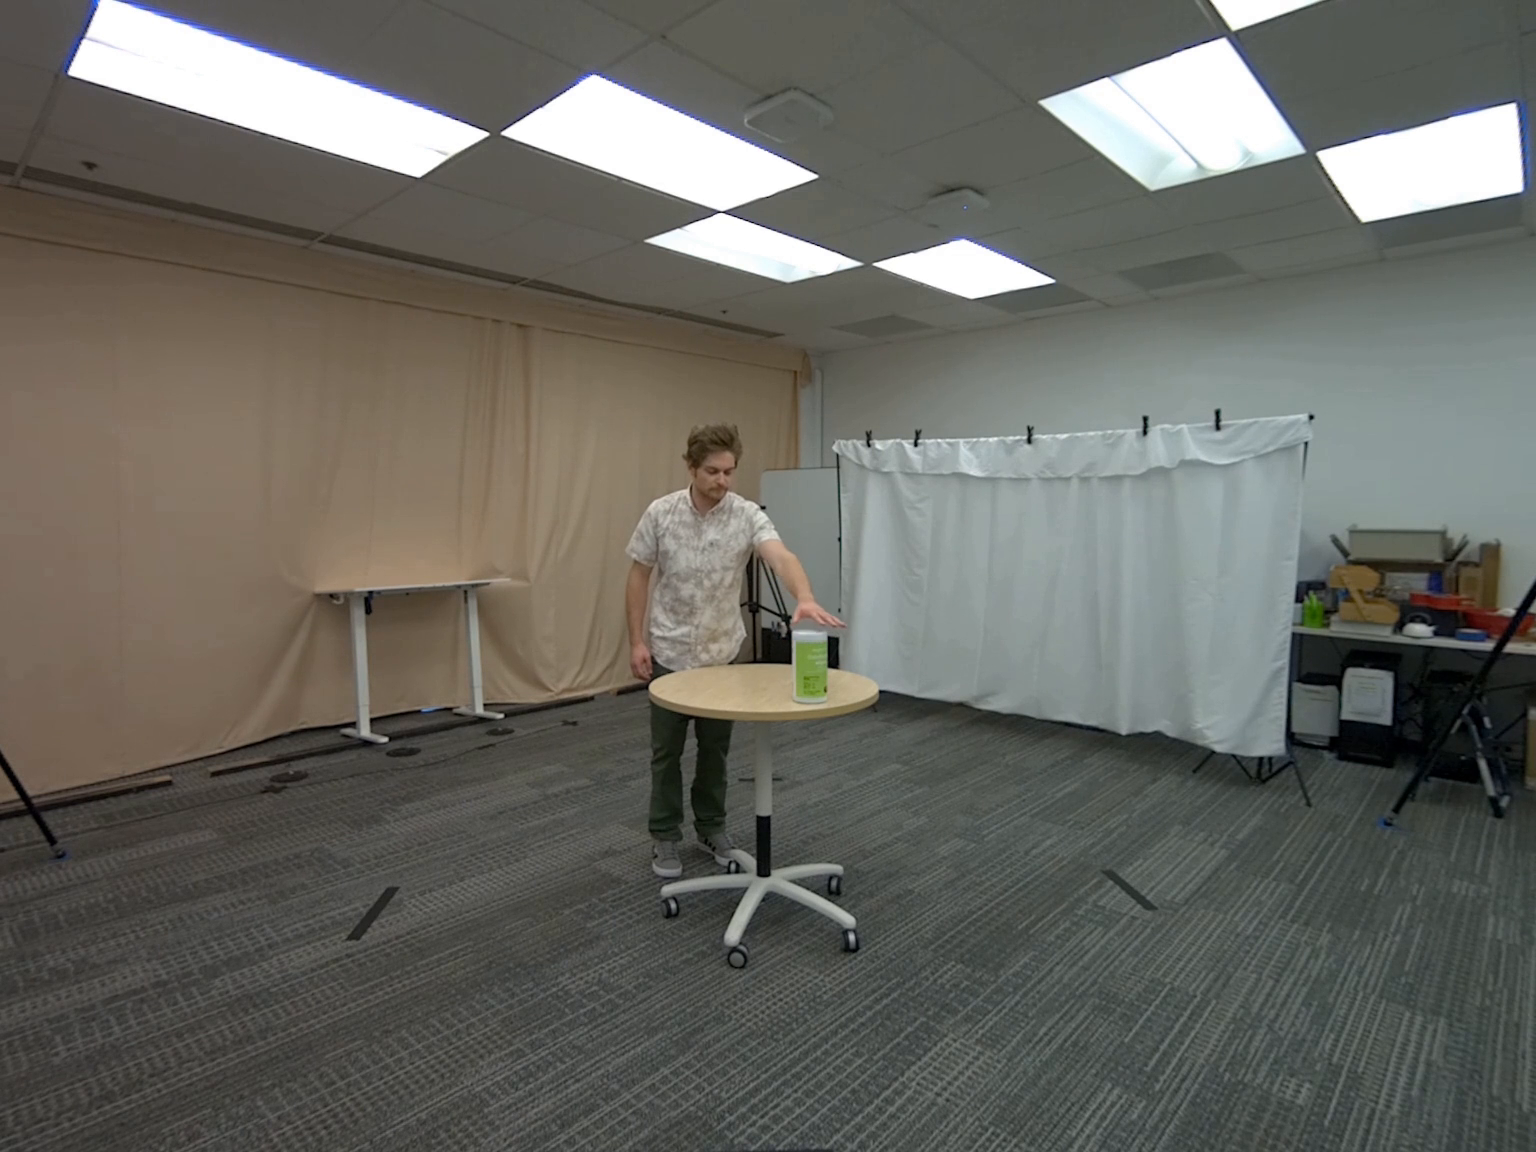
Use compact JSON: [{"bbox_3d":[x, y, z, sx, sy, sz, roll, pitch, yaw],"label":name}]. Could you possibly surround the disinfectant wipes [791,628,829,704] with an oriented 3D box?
[{"bbox_3d":[0.130,0.276,2.584,0.118,0.217,0.118,2,1,-2],"label":"disinfectant wipes"}]
